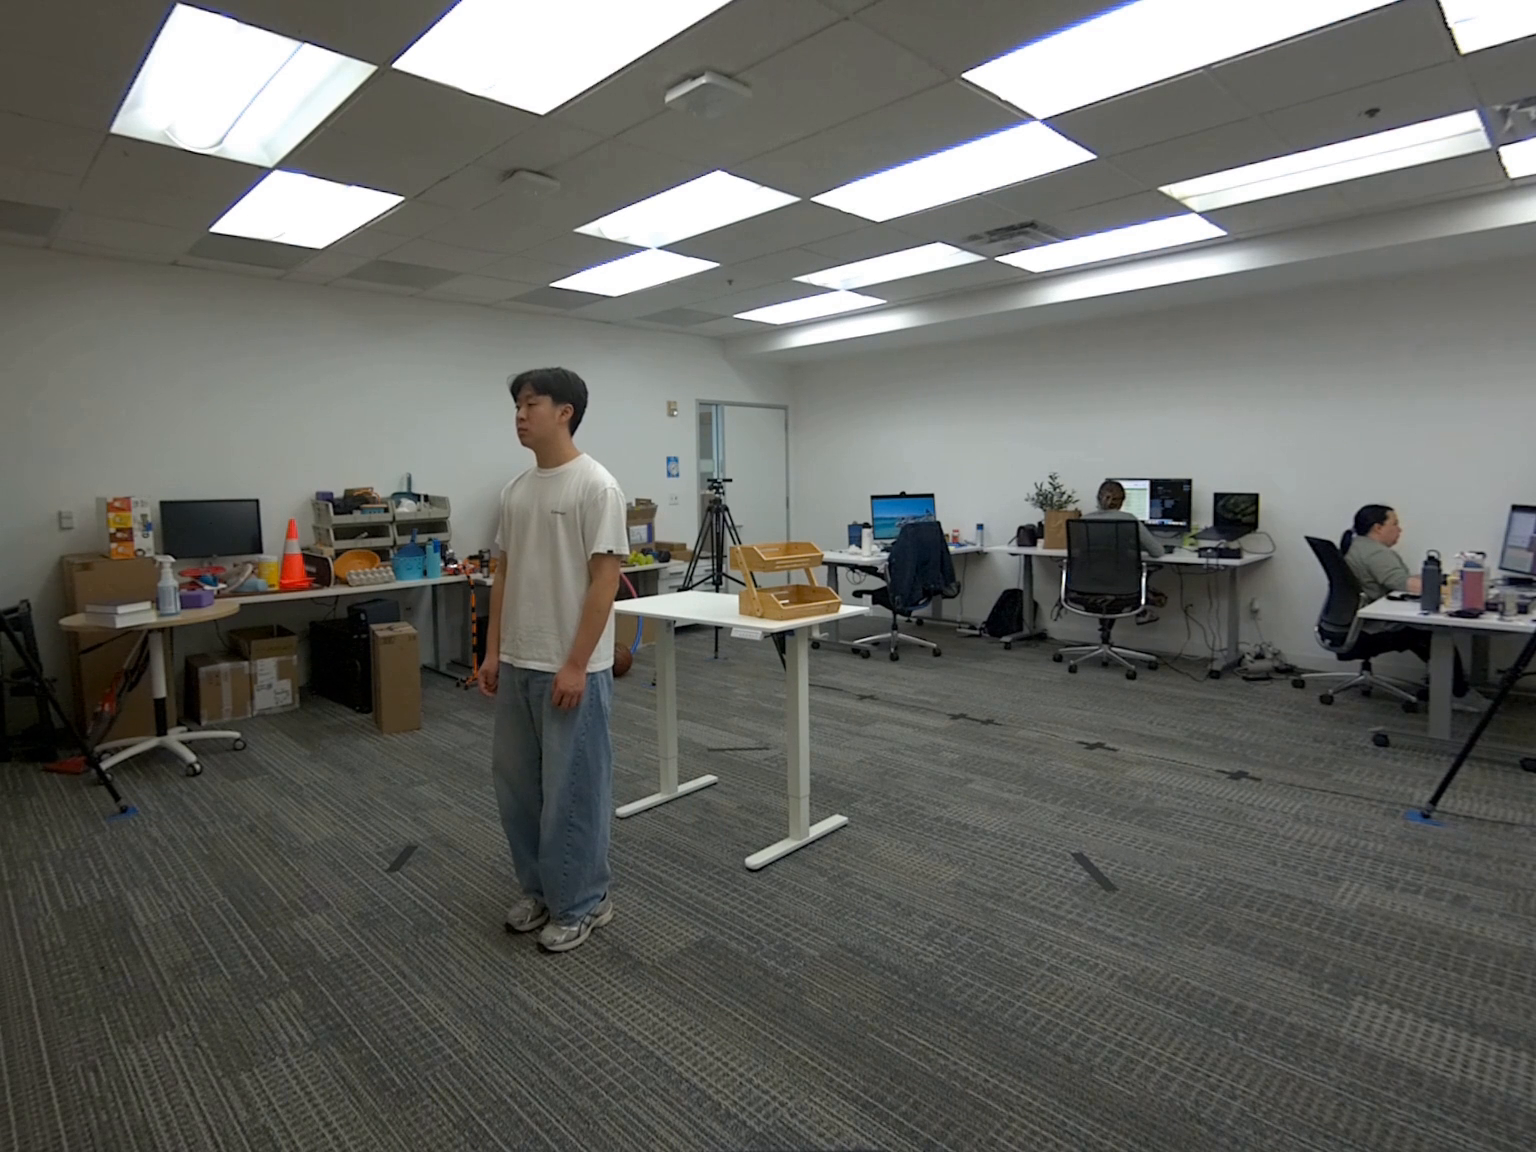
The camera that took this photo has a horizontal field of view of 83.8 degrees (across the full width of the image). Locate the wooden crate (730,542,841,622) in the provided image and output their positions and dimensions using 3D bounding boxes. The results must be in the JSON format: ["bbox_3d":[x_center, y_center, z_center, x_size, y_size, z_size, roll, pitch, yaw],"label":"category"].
[{"bbox_3d":[0.067,0.008,3.243,0.316,0.272,0.311,-5,5,-39],"label":"wooden crate"}]
